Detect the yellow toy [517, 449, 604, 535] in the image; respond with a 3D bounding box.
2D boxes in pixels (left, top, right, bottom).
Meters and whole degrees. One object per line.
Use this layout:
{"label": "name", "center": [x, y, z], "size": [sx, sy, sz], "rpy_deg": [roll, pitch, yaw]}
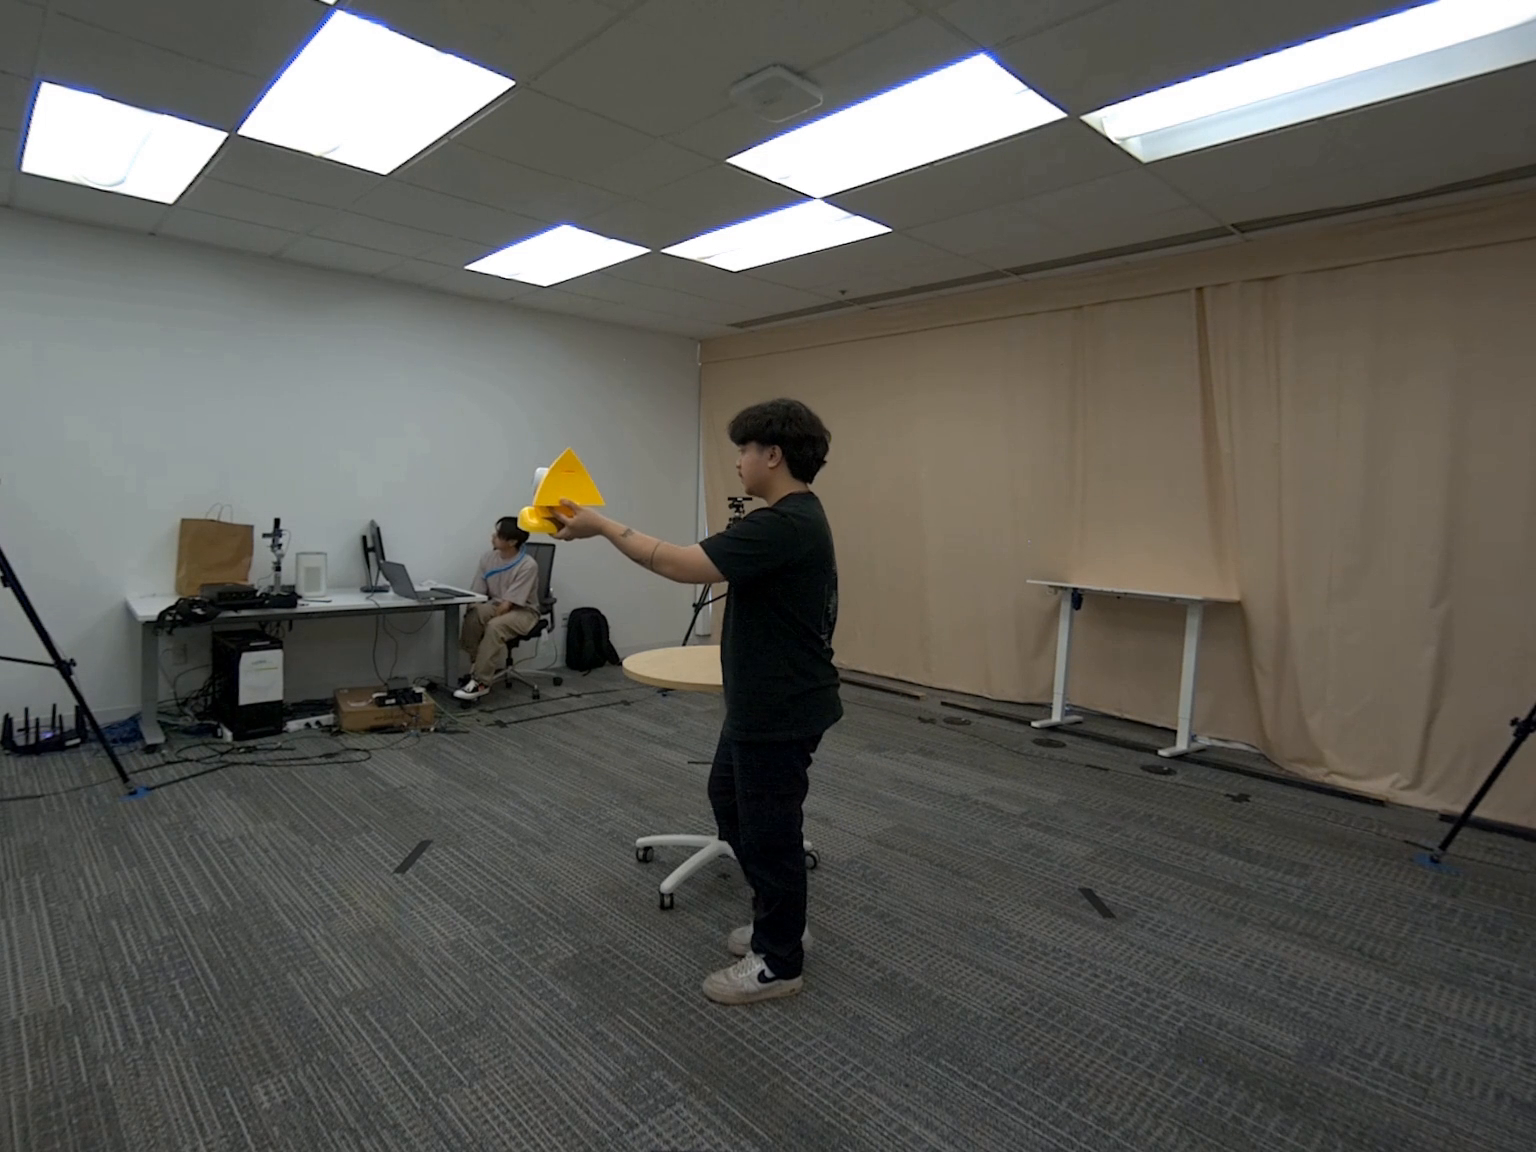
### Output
{"label": "yellow toy", "center": [-0.575, -0.244, 2.308], "size": [0.200, 0.229, 0.199], "rpy_deg": [-3, 14, -35]}
